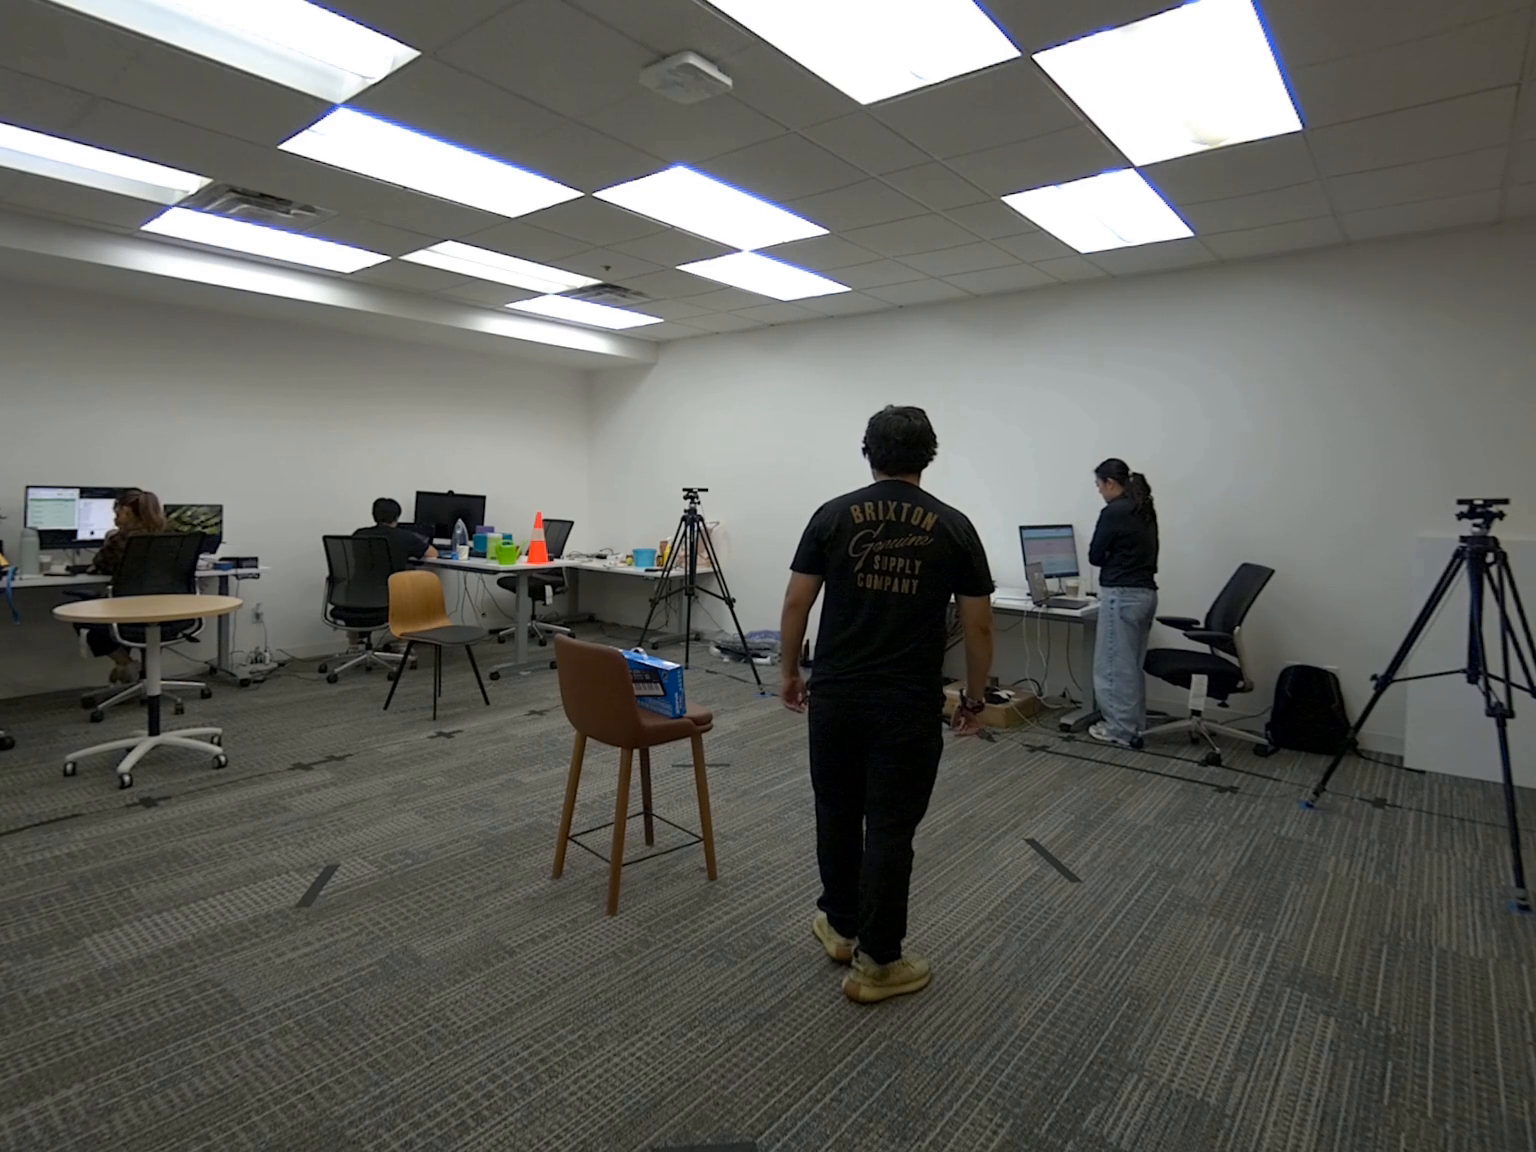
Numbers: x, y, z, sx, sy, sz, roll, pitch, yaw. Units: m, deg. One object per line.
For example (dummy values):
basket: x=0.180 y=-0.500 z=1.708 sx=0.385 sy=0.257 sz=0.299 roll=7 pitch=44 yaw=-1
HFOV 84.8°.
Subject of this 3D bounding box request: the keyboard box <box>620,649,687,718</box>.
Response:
keyboard box: x=-0.467 y=0.372 z=3.038 sx=0.057 sy=0.174 sz=0.452 roll=-11 pitch=12 yaw=-41
